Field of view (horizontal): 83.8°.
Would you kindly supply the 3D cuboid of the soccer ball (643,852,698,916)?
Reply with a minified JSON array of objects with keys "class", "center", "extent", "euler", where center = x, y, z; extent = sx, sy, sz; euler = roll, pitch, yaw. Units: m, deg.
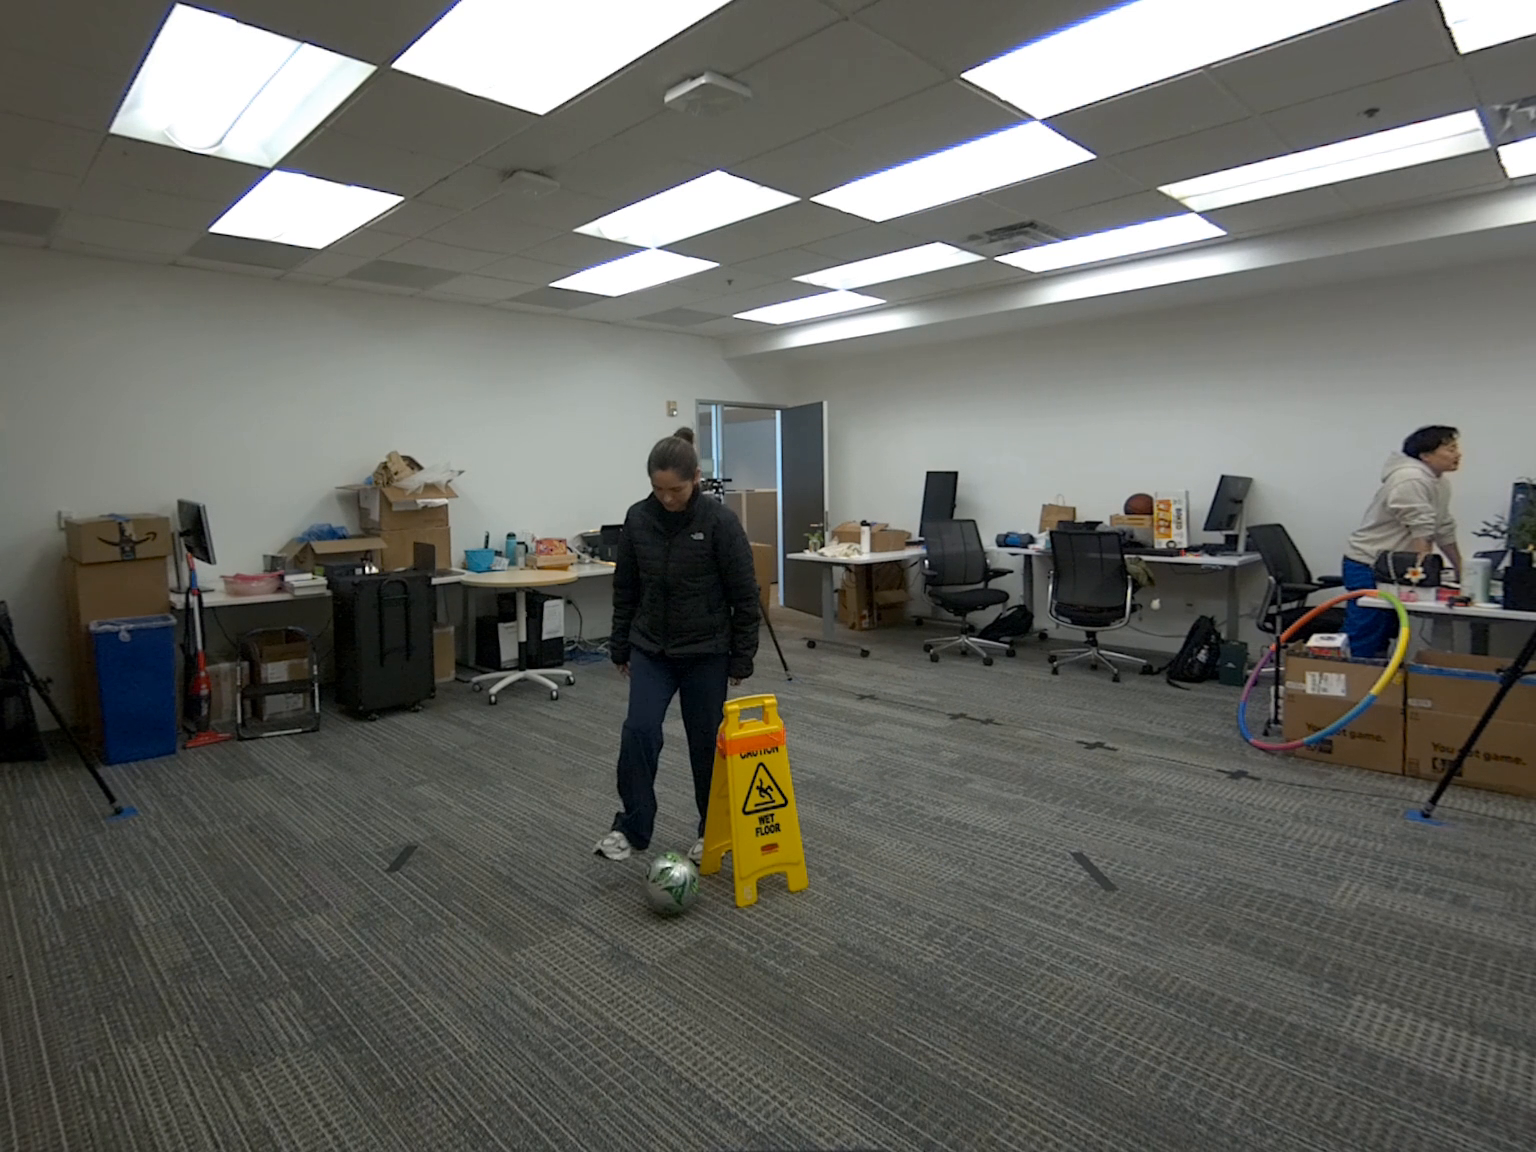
[{"class":"soccer ball","center":[-0.314,1.000,2.763],"extent":[0.187,0.187,0.188],"euler":[-1,5,-2]}]
